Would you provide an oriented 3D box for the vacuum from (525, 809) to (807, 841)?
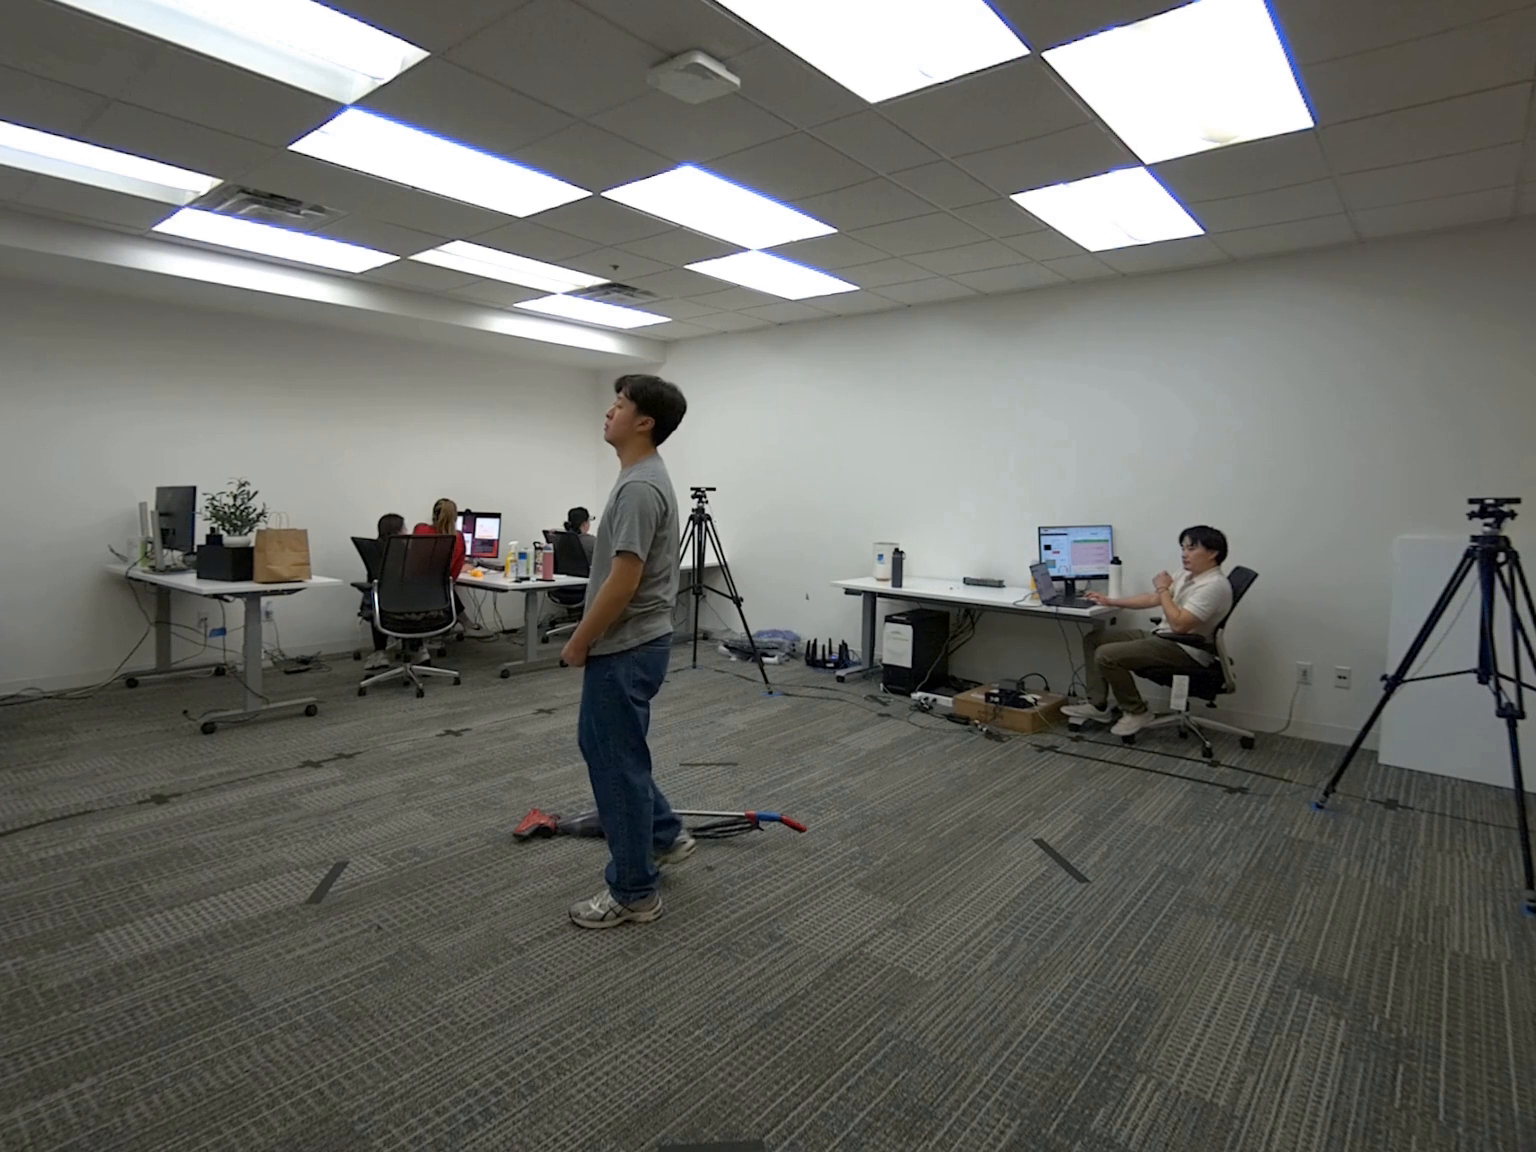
[{"bbox_3d":[-0.381,0.979,3.354,1.055,0.144,0.250,0,-2,5],"label":"vacuum"}]
